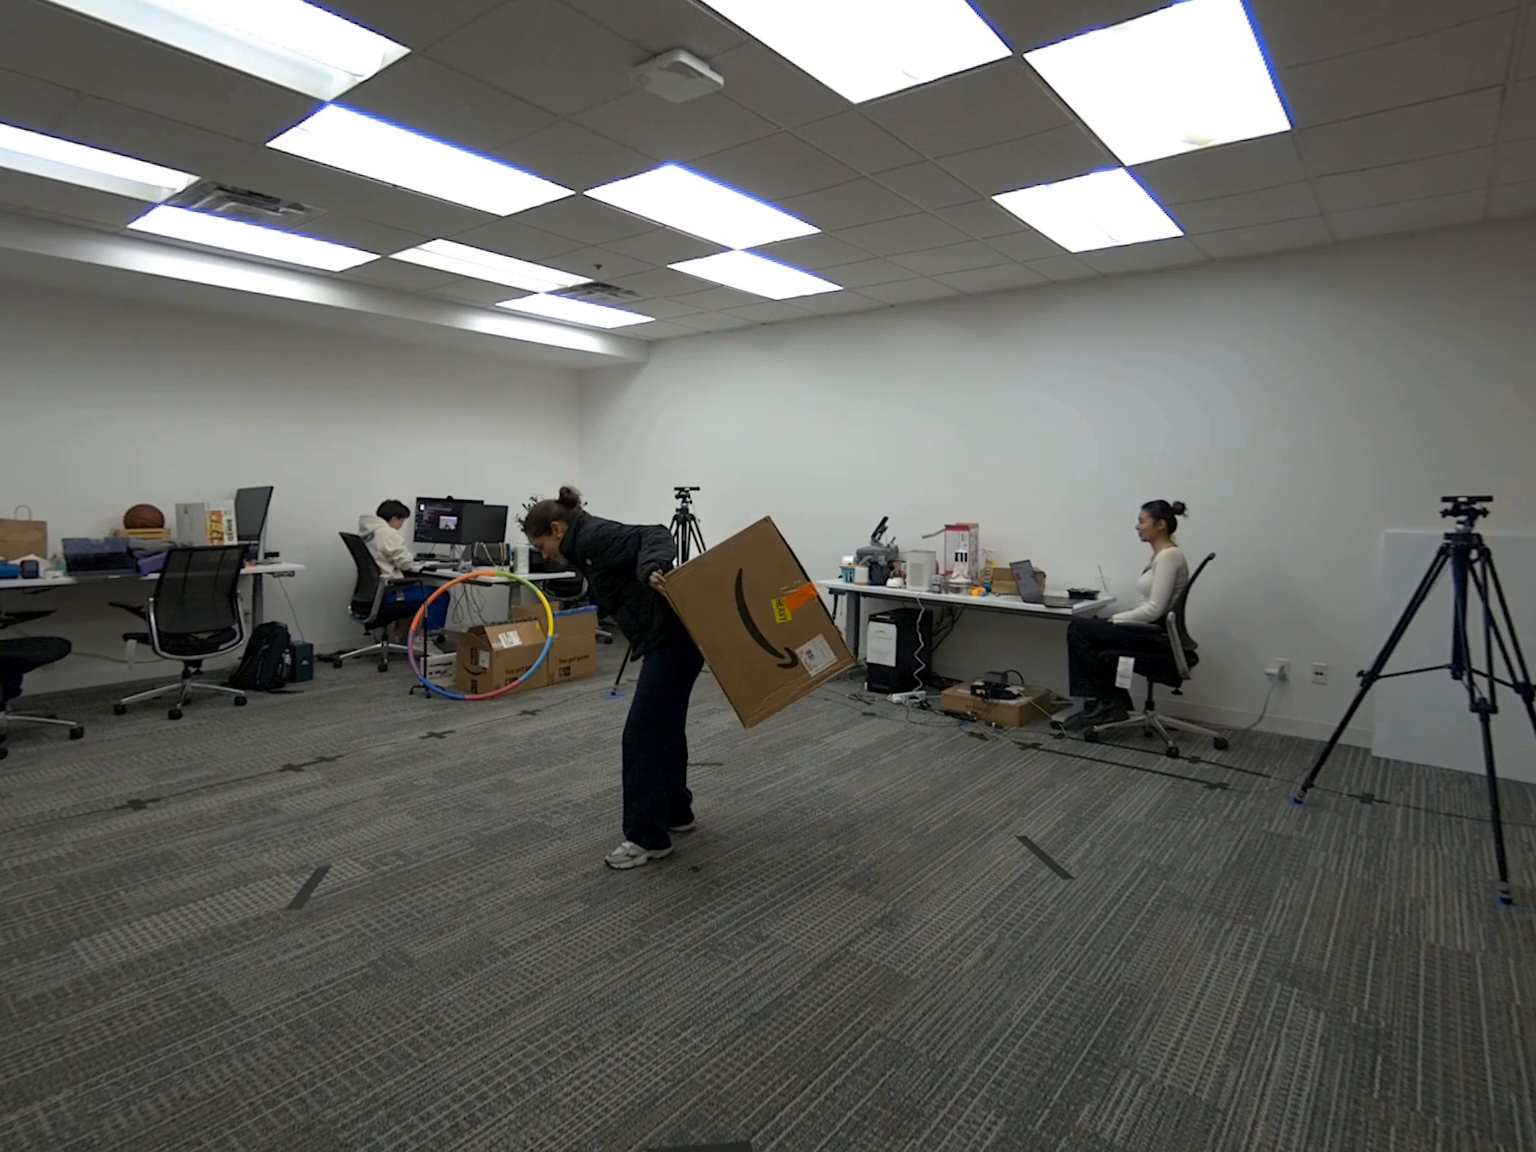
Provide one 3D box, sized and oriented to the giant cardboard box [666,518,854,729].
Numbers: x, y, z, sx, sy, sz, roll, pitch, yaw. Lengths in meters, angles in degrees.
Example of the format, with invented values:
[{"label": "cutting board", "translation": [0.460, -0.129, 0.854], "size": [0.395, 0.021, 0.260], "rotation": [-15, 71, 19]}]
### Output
[{"label": "giant cardboard box", "translation": [-0.045, 0.143, 3.296], "size": [0.426, 0.578, 1.026], "rotation": [-31, 2, -2]}]
